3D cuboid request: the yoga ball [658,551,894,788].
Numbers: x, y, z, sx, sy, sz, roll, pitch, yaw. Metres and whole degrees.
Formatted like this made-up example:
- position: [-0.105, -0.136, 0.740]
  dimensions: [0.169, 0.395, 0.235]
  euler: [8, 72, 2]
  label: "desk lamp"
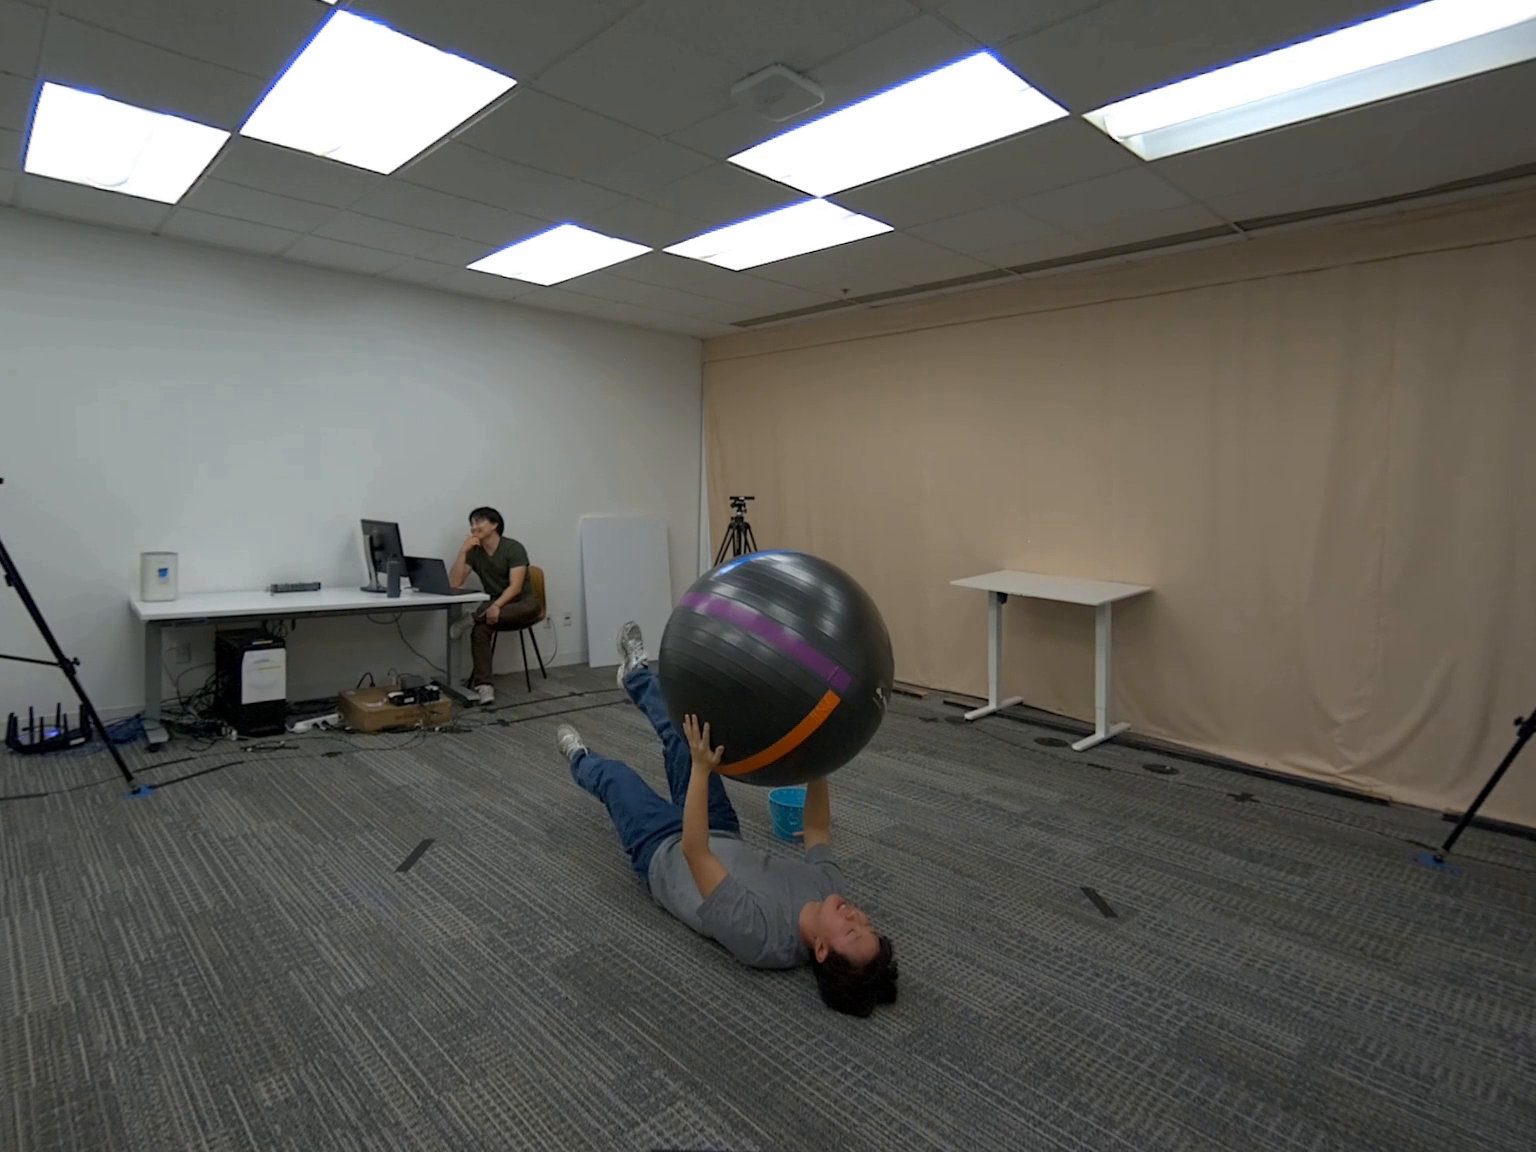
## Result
- position: [0.018, 0.302, 2.733]
  dimensions: [0.757, 0.756, 0.761]
  euler: [1, 4, -1]
  label: "yoga ball"
